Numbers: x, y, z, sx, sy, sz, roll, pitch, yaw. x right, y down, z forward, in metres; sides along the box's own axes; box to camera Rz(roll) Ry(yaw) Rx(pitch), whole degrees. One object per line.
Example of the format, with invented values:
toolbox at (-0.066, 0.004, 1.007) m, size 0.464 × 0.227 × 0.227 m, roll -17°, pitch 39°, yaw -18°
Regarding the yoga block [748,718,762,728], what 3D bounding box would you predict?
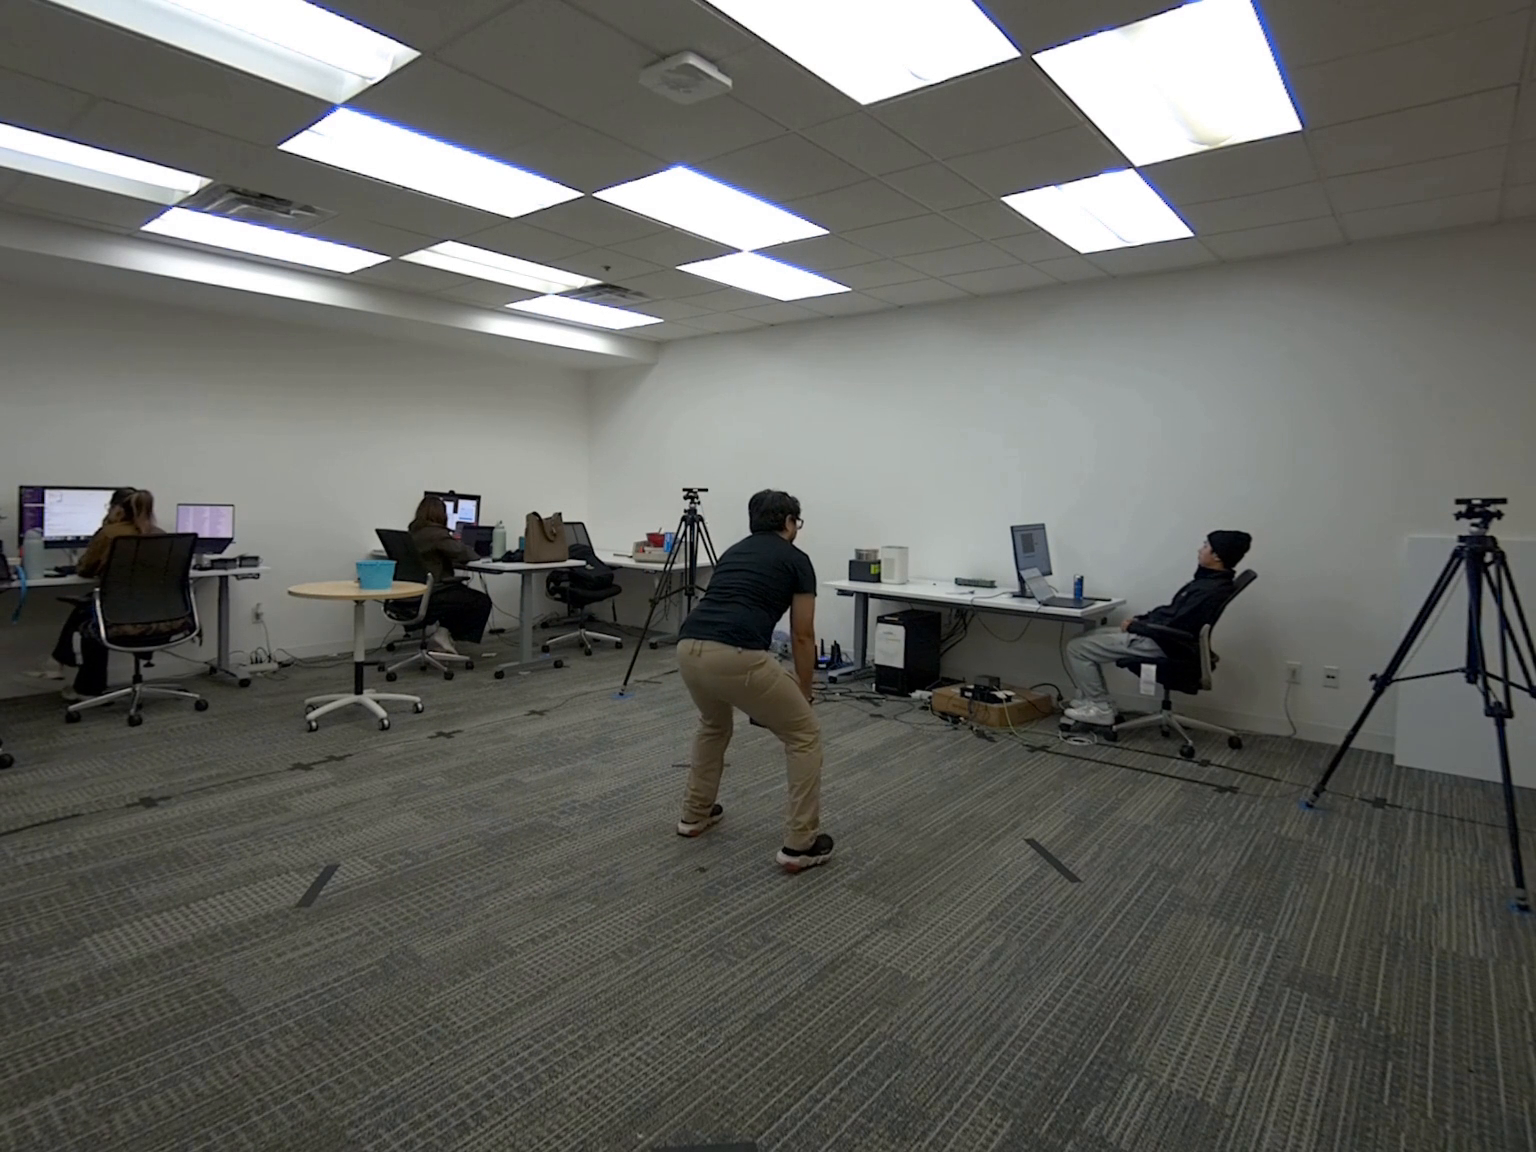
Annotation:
yoga block at (0.051, 0.581, 3.493) m, size 0.237 × 0.076 × 0.146 m, roll 6°, pitch 13°, yaw 33°
